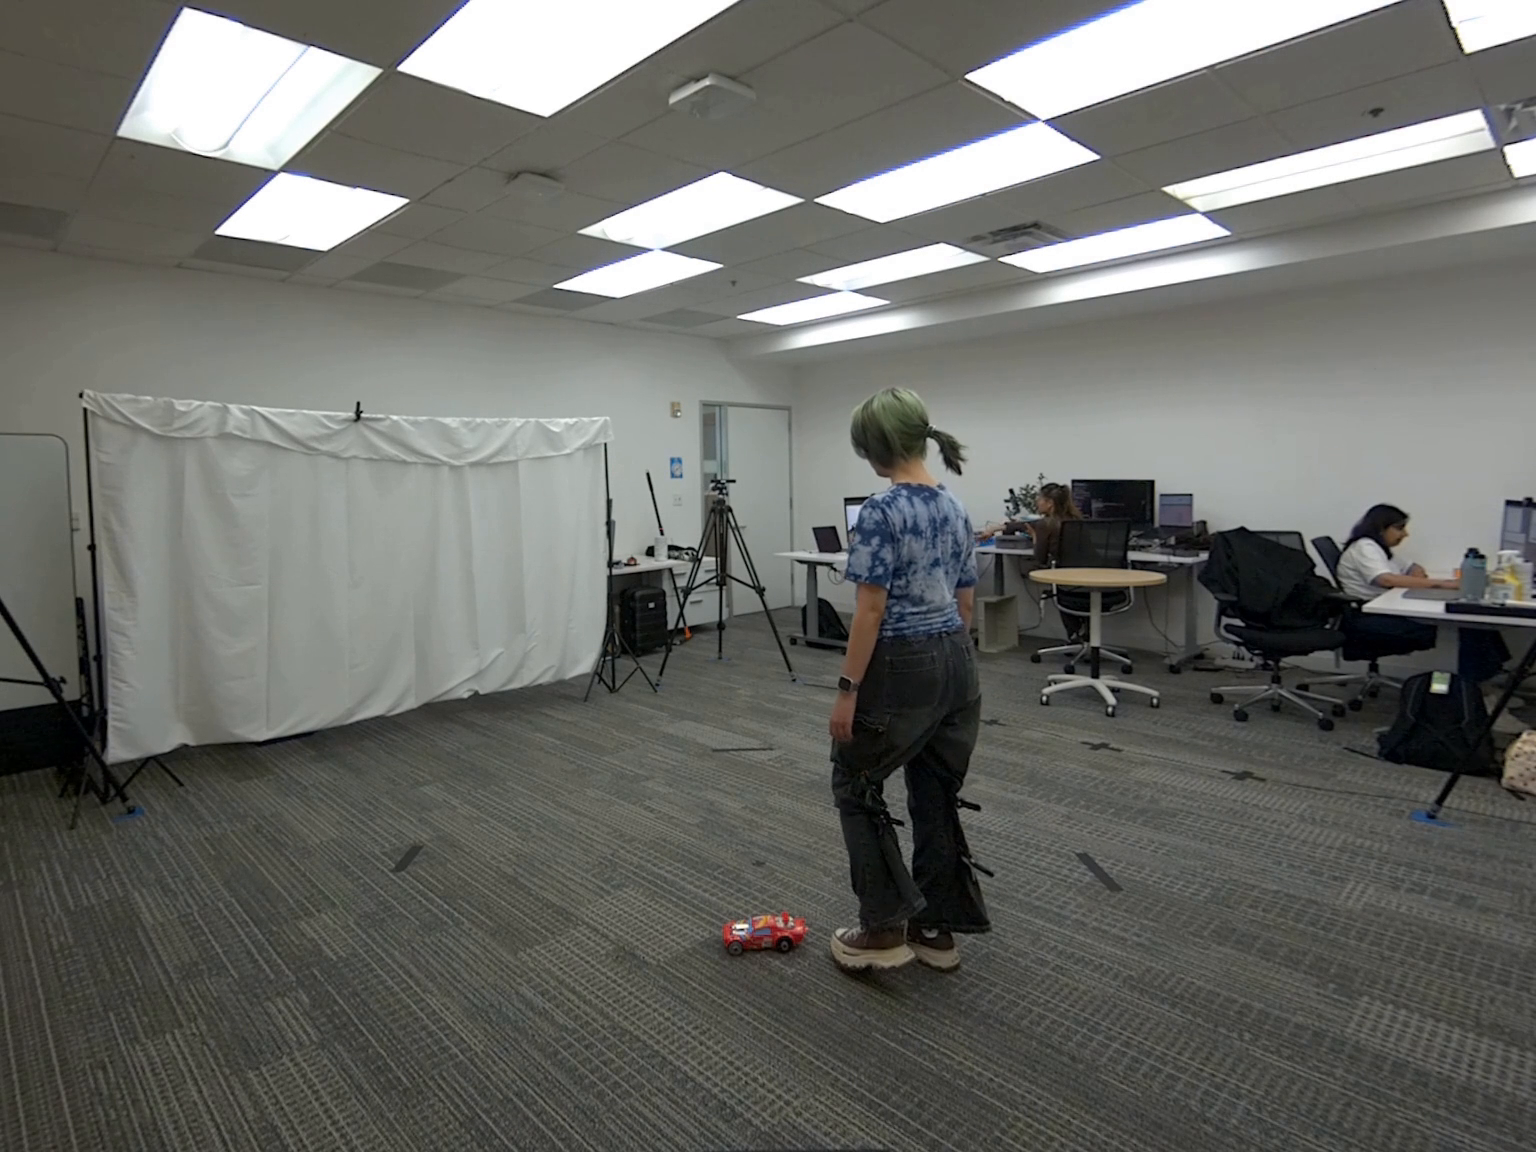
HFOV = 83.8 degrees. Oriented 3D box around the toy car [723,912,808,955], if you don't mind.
[{"bbox_3d":[-0.002,1.078,2.565,0.254,0.083,0.131,-13,5,-2],"label":"toy car"}]
